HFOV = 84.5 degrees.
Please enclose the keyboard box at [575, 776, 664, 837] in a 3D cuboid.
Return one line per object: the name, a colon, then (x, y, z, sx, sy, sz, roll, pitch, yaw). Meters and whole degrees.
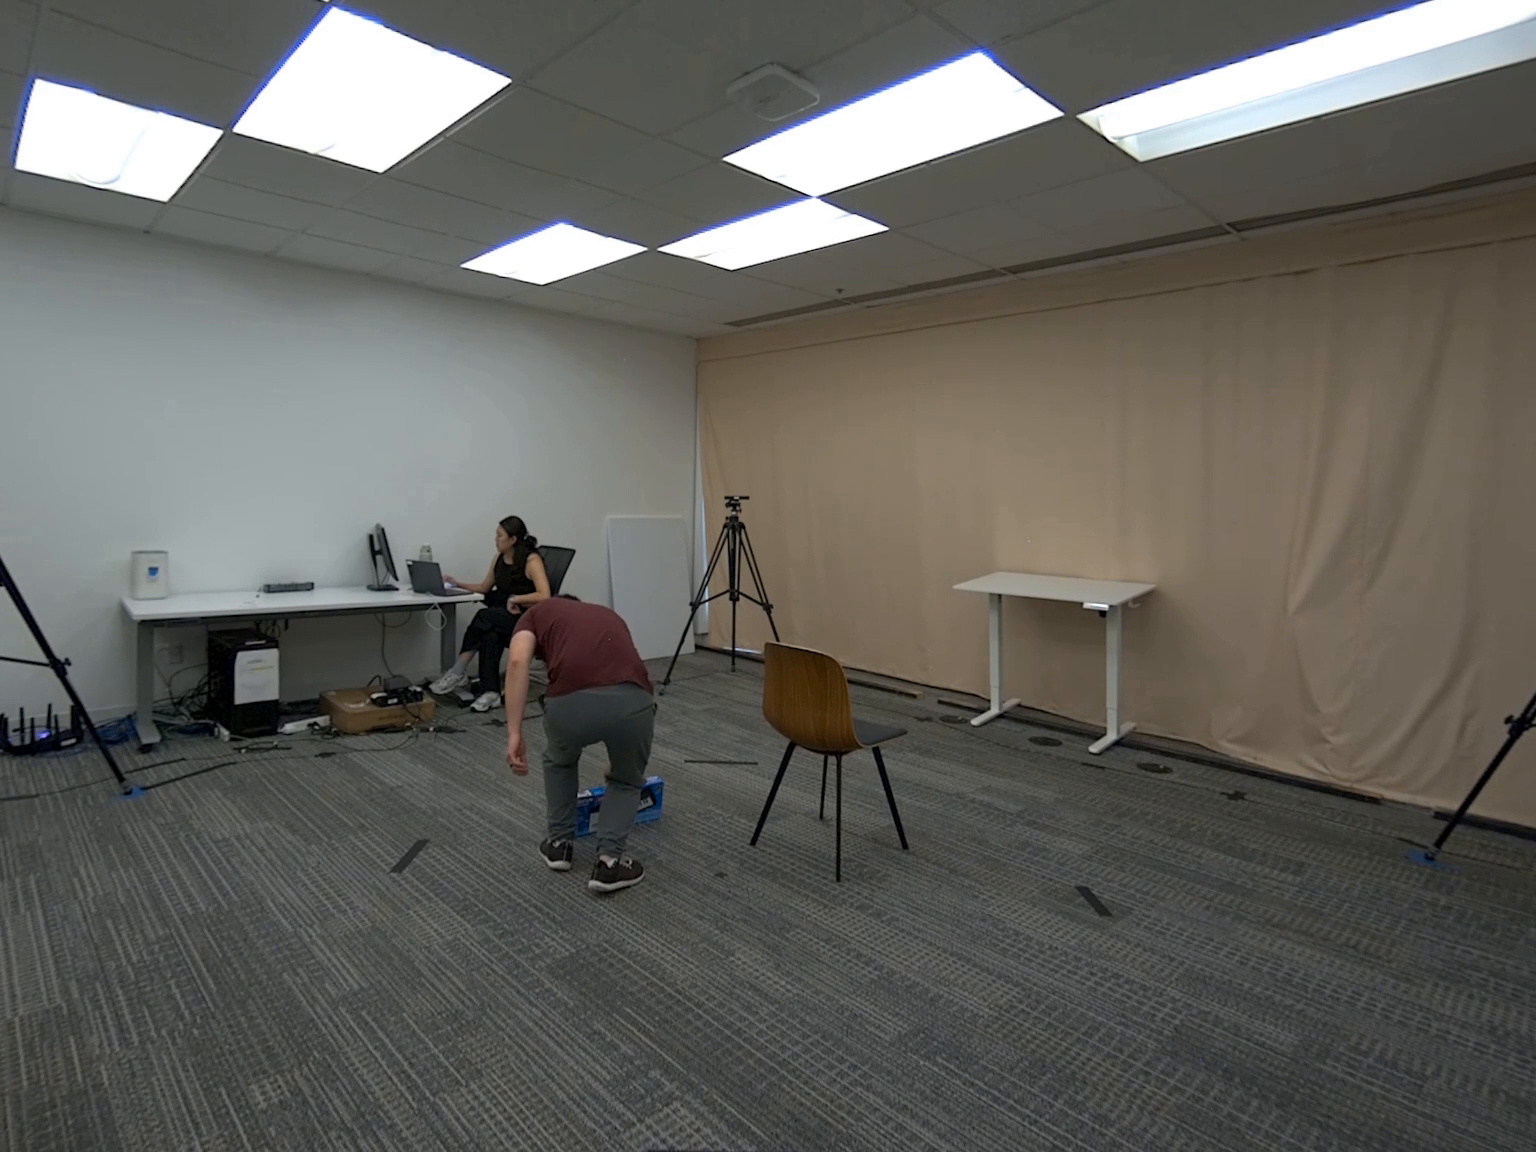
keyboard box: (-0.645, 0.962, 3.520, 0.427, 0.175, 0.061, -2, 13, -36)
